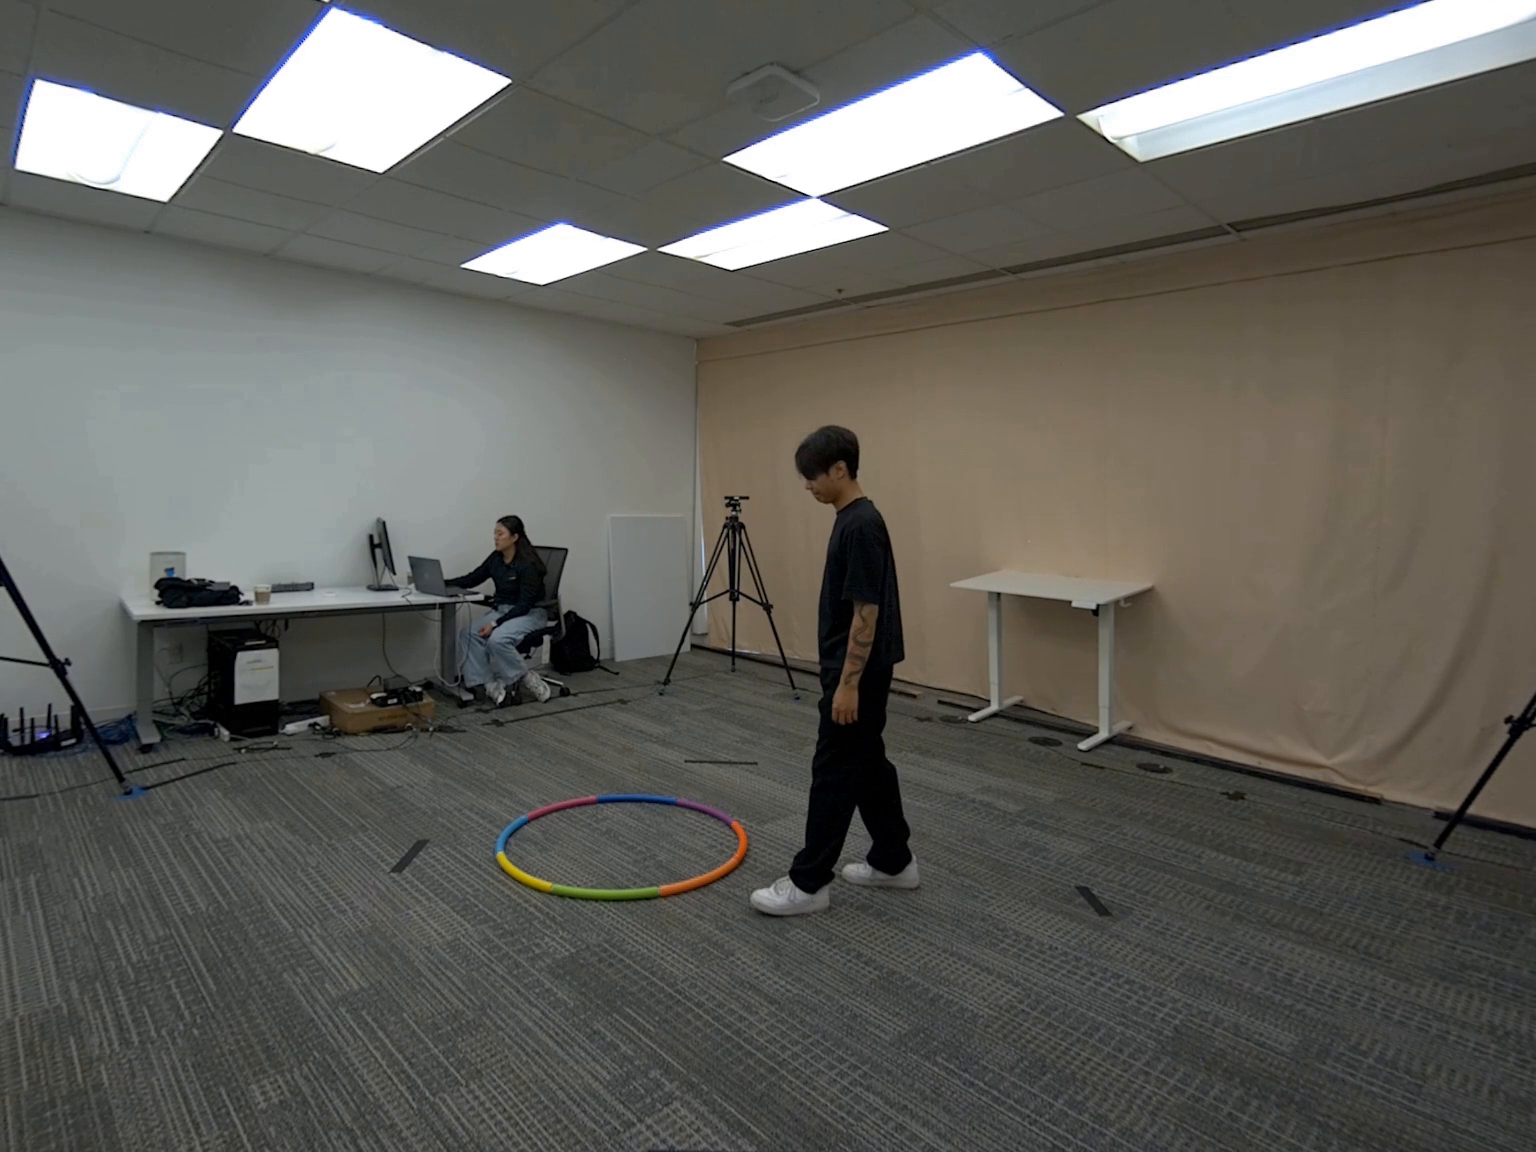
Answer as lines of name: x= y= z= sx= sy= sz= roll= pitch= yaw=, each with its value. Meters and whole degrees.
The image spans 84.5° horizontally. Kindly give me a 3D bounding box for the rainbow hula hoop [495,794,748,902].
rainbow hula hoop: x=-0.575 y=1.040 z=3.358 sx=0.978 sy=0.035 sz=0.982 roll=2 pitch=5 yaw=-1
